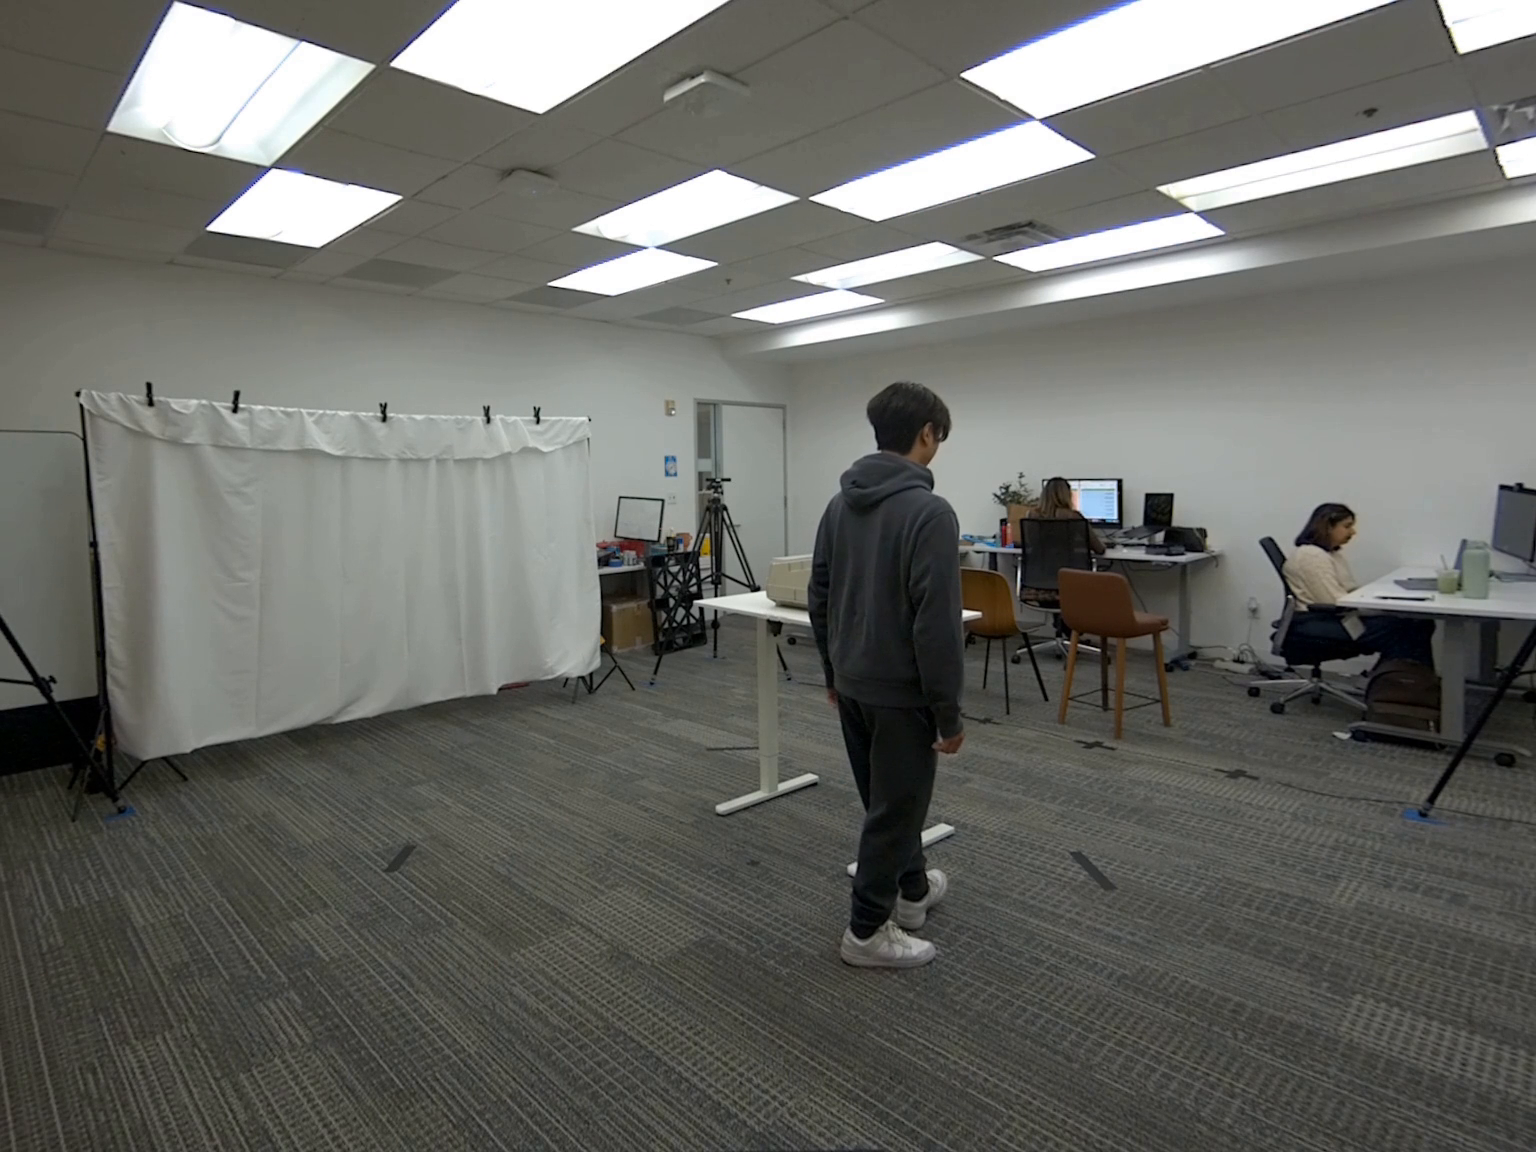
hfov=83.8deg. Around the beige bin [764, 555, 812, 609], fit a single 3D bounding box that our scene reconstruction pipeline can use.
[{"bbox_3d":[0.273,0.035,3.370,0.367,0.188,0.436,-6,8,-43],"label":"beige bin"}]
